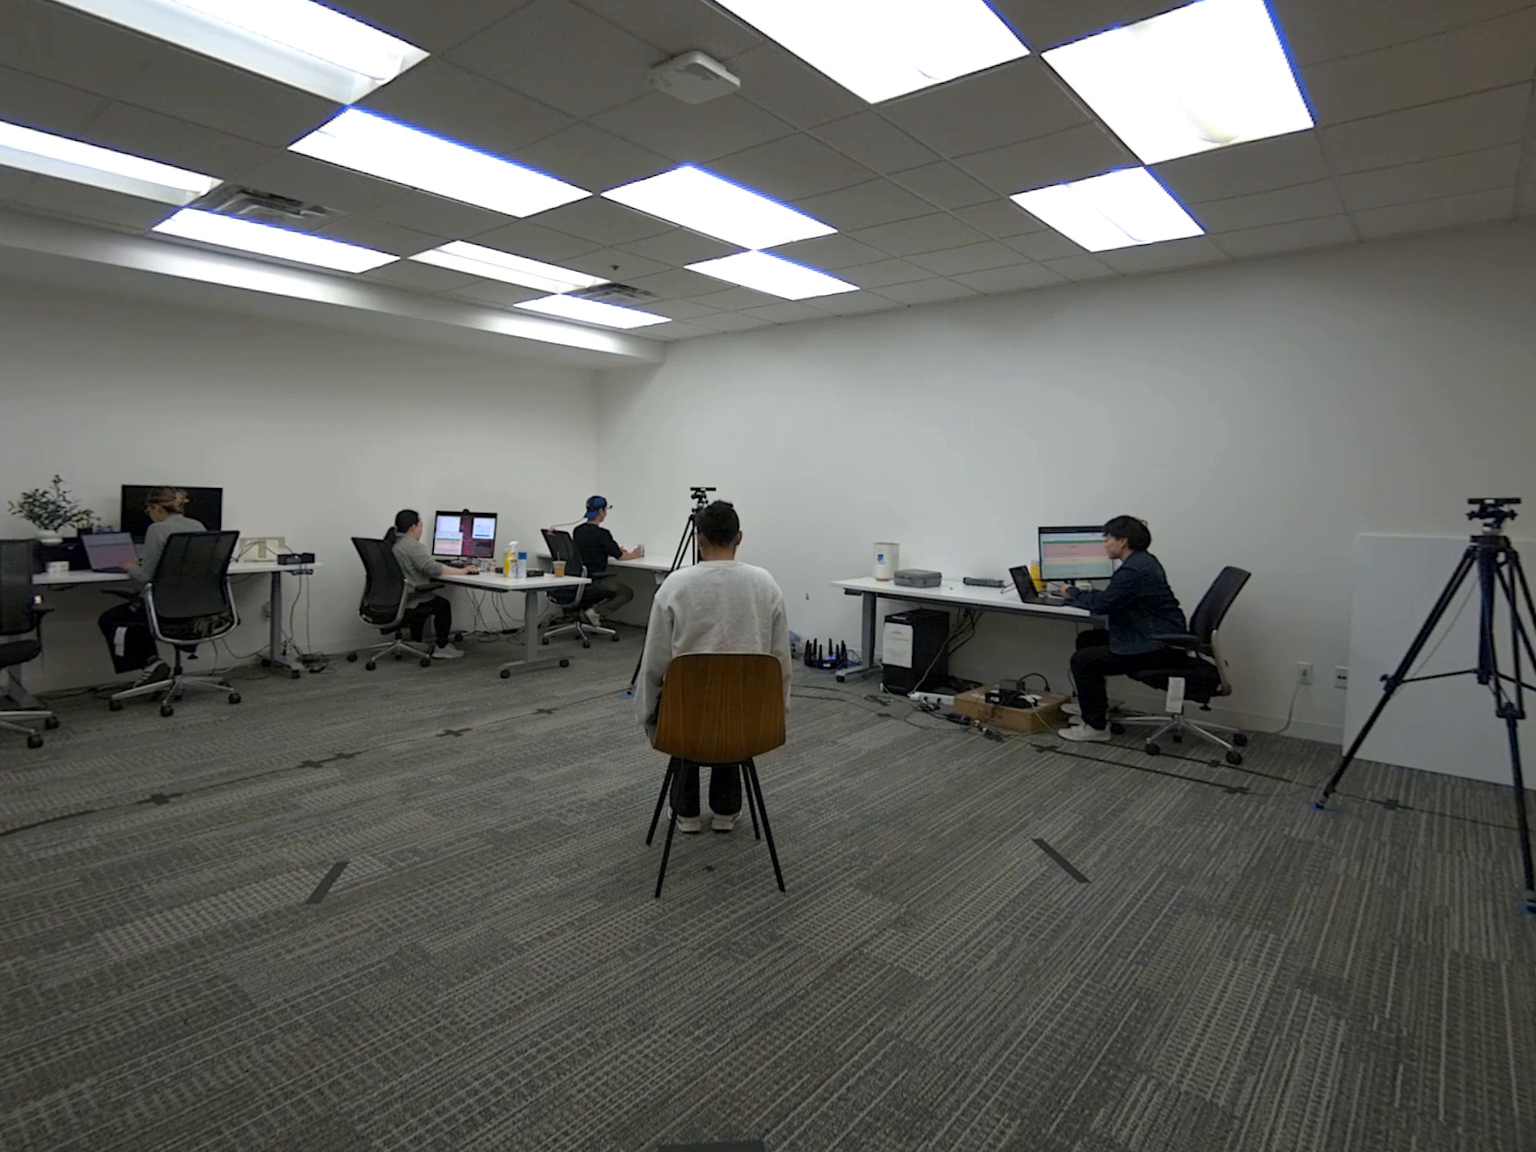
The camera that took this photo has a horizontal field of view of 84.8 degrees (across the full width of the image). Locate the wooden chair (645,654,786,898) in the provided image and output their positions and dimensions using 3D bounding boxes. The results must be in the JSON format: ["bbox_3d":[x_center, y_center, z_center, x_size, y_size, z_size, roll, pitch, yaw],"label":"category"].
[{"bbox_3d":[-0.209,0.639,3.110,0.473,0.872,0.533,0,7,-11],"label":"wooden chair"}]
